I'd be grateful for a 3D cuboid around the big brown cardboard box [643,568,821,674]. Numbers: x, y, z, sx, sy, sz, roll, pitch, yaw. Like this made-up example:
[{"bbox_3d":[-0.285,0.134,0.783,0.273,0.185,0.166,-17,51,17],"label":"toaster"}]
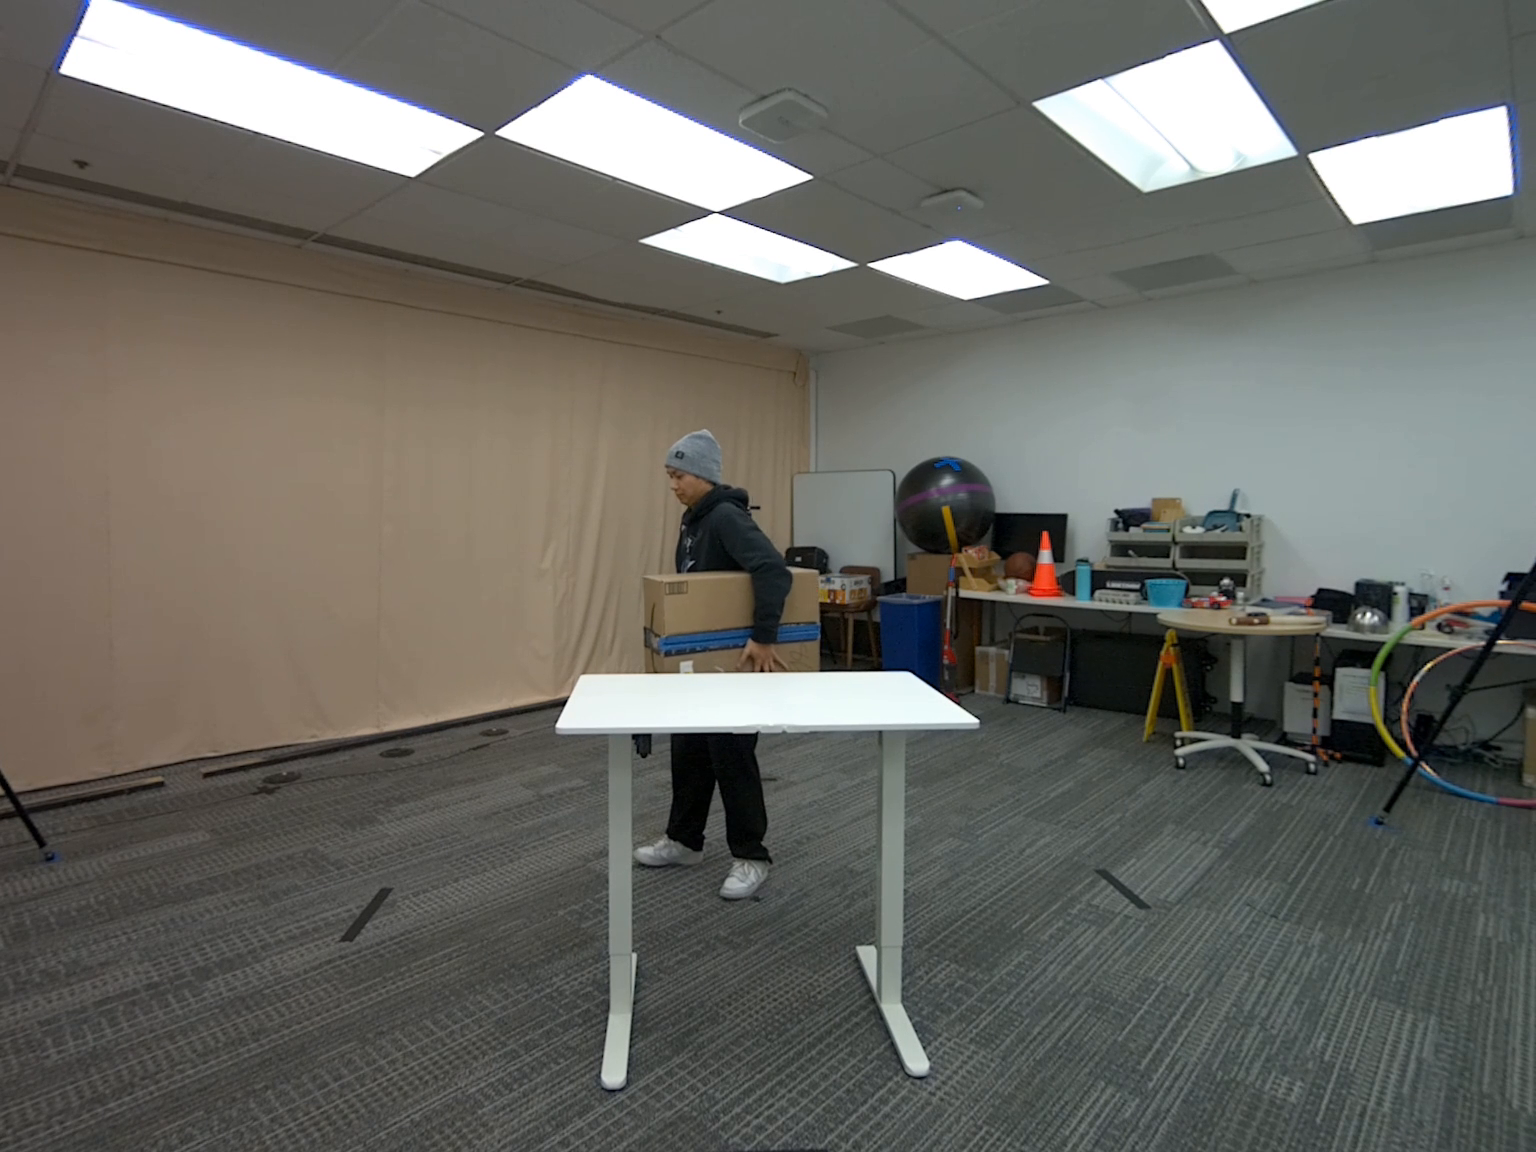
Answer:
[{"bbox_3d":[-0.126,0.196,2.865,0.577,0.416,0.239,-3,4,-22],"label":"big brown cardboard box"}]
